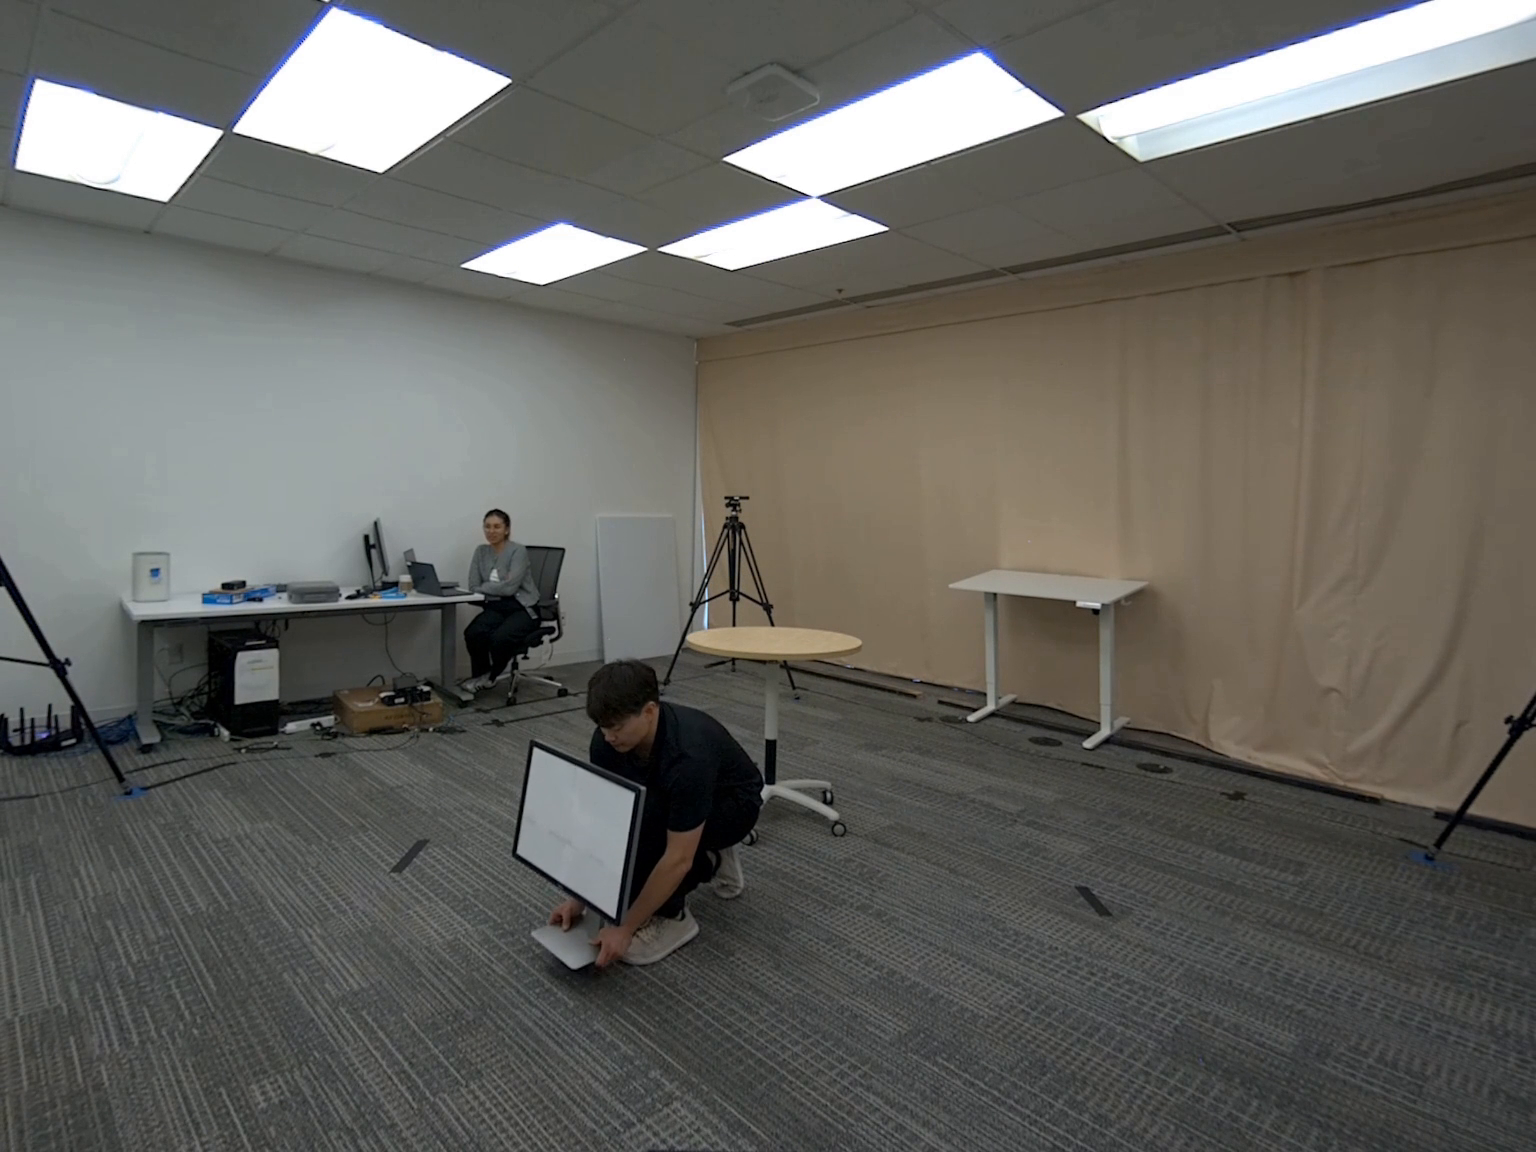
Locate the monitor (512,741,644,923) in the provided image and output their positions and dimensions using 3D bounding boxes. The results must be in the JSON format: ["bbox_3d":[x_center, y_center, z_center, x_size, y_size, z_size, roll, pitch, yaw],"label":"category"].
[{"bbox_3d":[-0.554,0.806,2.434,0.553,0.520,0.183,6,8,44],"label":"monitor"}]
